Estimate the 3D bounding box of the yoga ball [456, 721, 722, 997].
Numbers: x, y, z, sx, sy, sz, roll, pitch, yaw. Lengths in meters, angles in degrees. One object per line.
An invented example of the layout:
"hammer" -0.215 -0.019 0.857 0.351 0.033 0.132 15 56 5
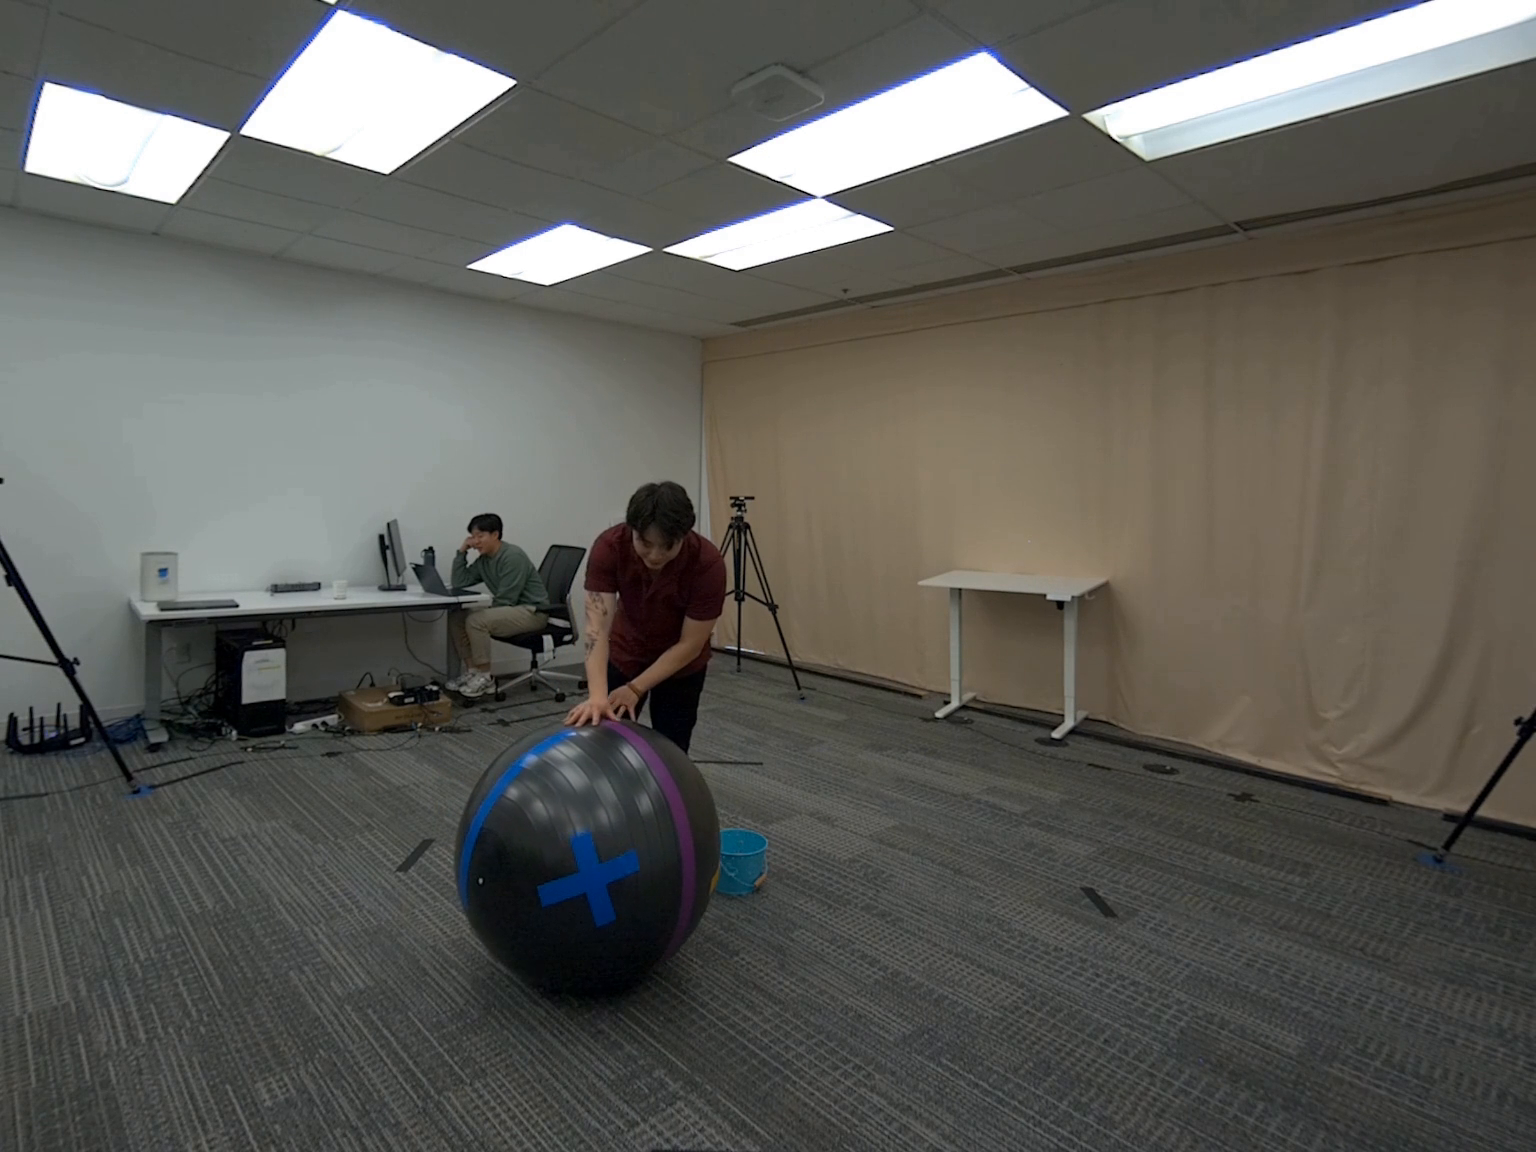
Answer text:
"yoga ball" -0.527 0.799 2.462 0.757 0.756 0.761 1 4 -1
